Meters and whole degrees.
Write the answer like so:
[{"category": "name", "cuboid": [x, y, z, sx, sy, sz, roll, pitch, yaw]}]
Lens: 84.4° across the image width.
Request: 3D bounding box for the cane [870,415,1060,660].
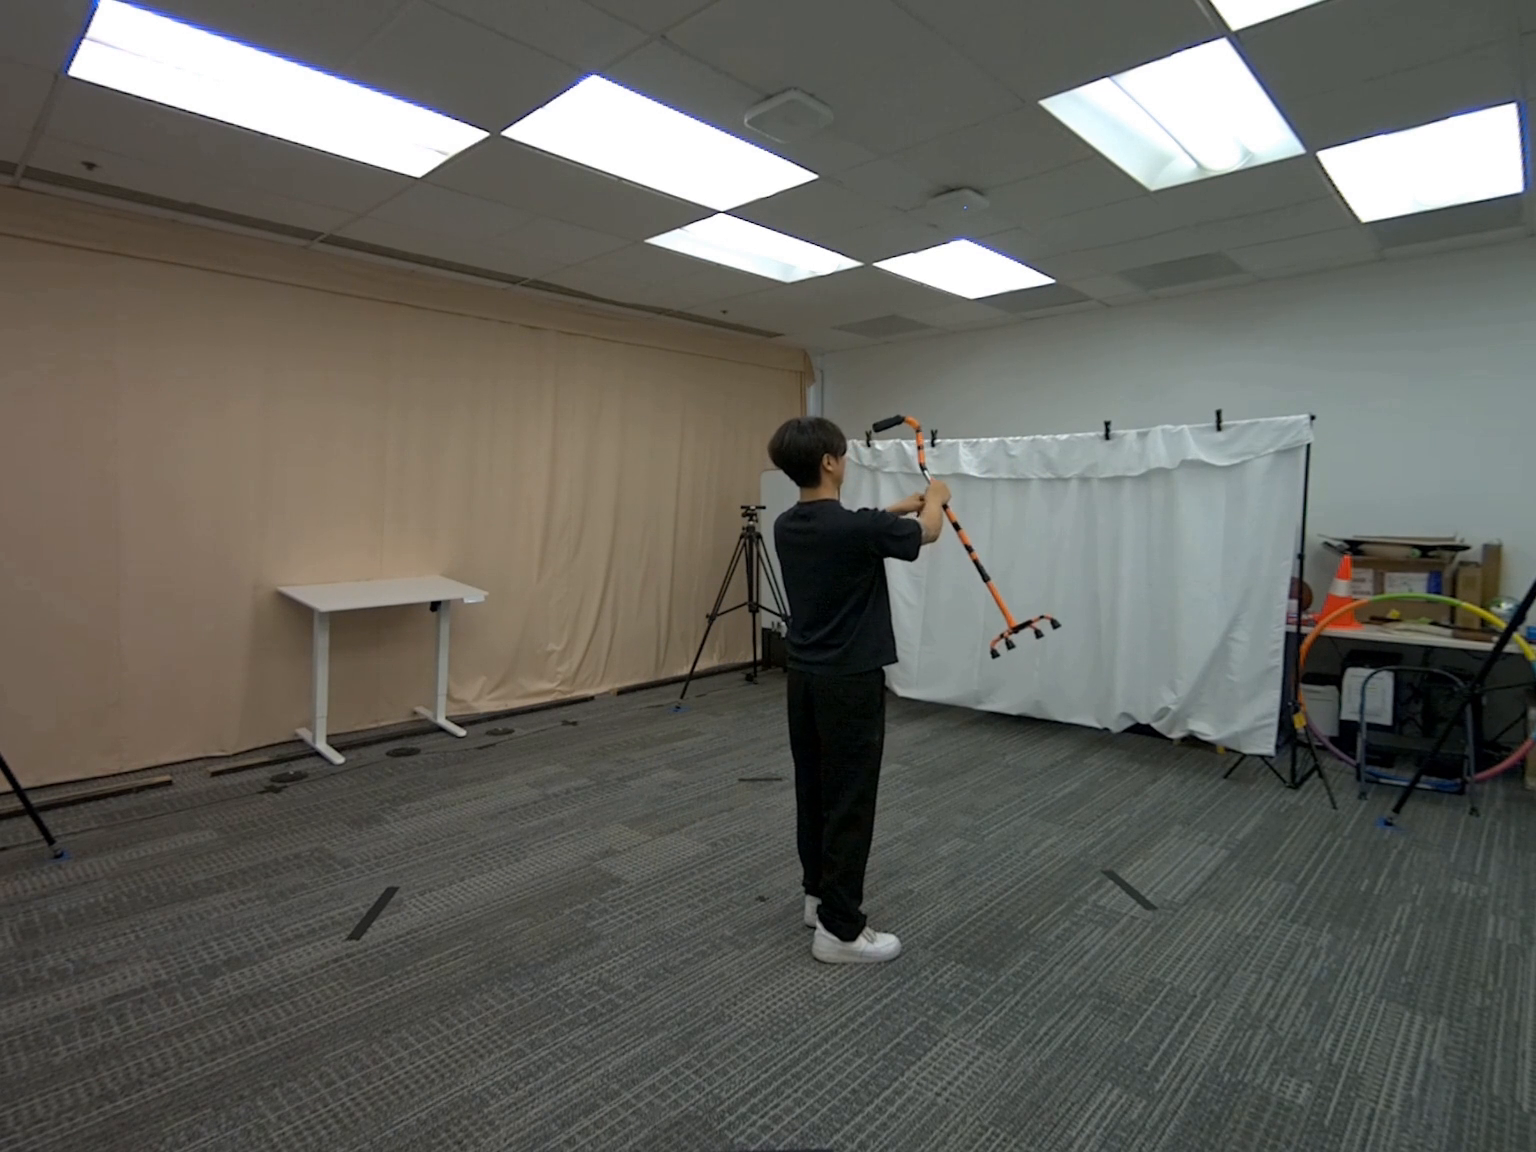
[{"category": "cane", "cuboid": [0.664, -0.183, 2.890, 0.204, 0.922, 0.151, -21, -15, -15]}]
